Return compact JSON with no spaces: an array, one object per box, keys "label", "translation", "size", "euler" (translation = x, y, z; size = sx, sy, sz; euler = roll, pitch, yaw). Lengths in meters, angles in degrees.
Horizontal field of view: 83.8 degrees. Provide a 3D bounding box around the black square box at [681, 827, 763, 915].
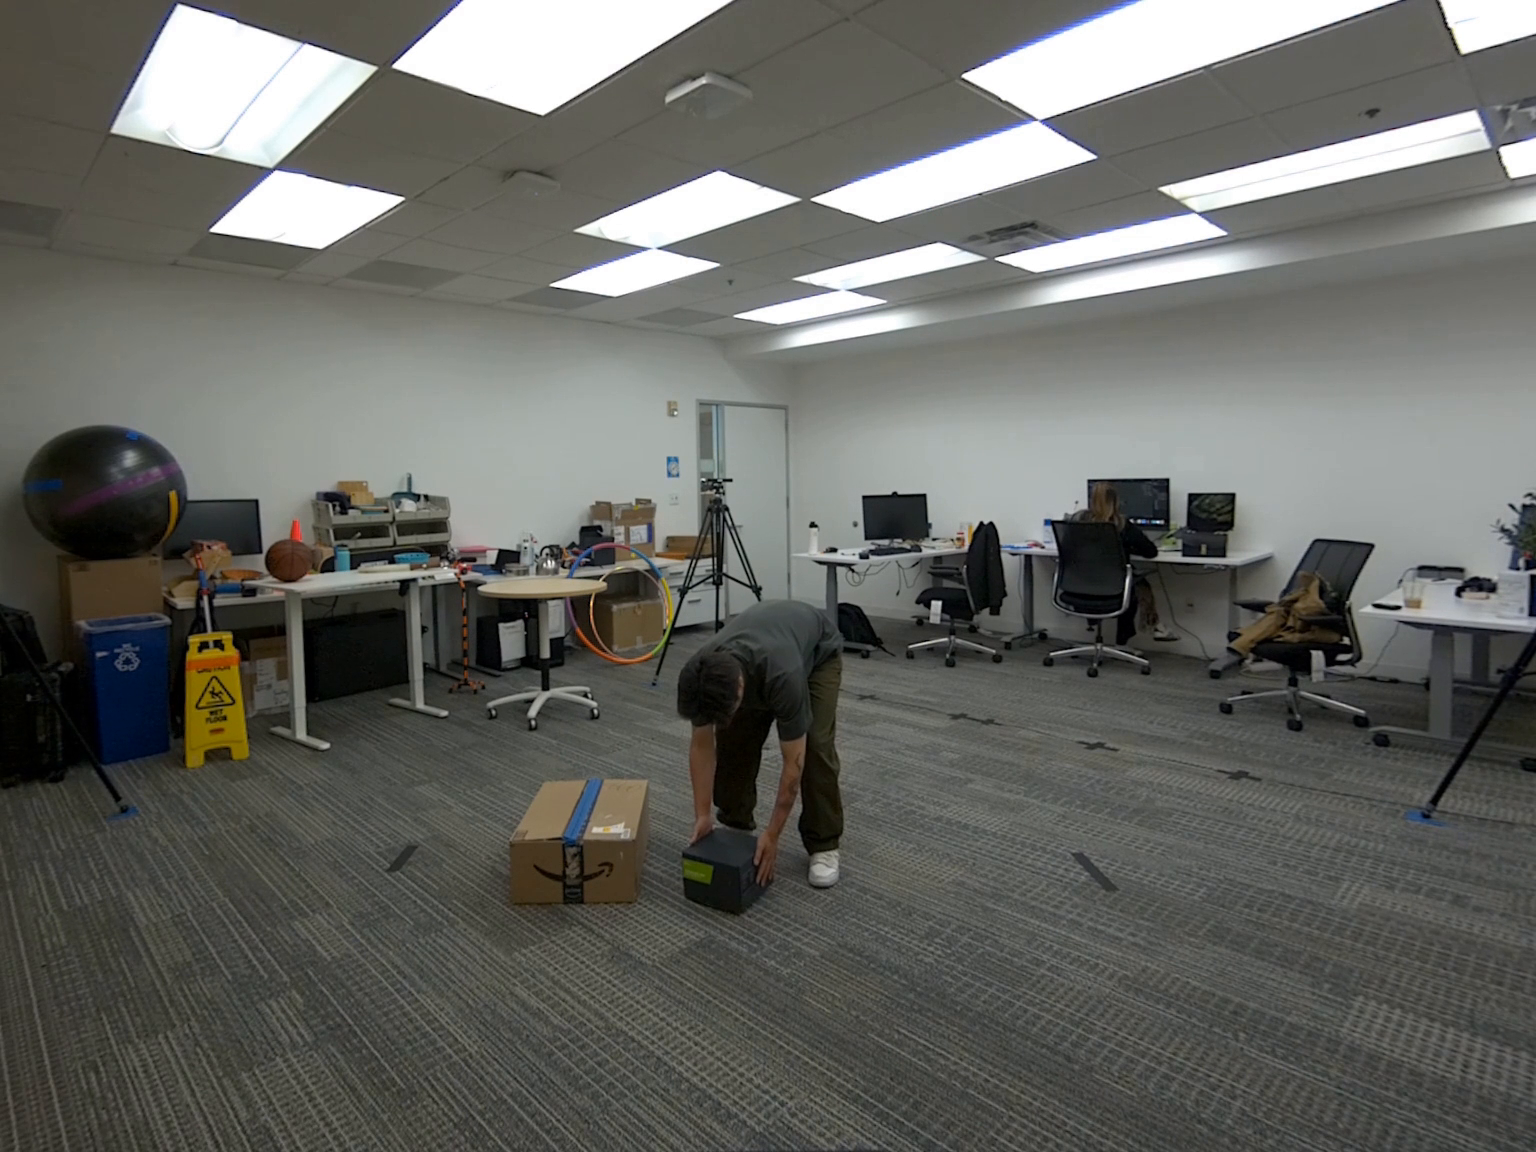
[{"label":"black square box","translation":[-0.138,0.980,2.869],"size":[0.234,0.155,0.213],"euler":[3,10,31]}]
